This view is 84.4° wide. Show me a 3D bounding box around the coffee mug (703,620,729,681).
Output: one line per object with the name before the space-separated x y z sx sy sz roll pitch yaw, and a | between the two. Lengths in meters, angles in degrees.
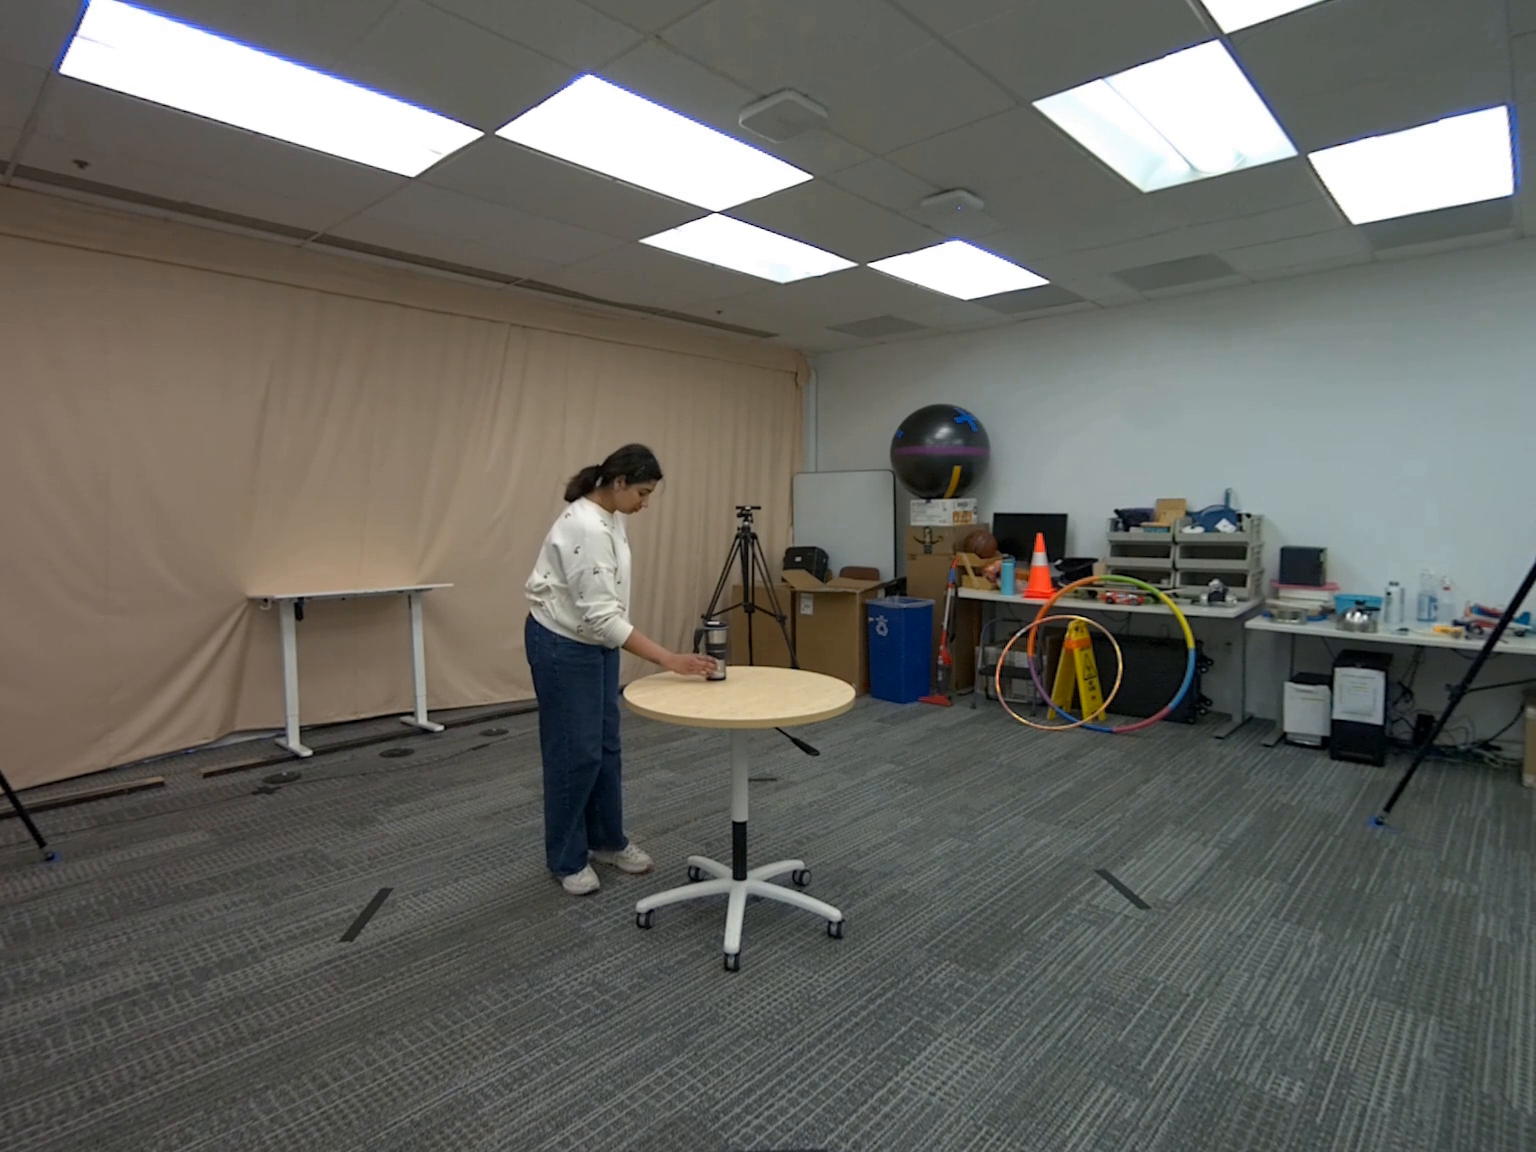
coffee mug | -0.160 0.264 2.940 0.121 0.202 0.088 -7 3 -5
